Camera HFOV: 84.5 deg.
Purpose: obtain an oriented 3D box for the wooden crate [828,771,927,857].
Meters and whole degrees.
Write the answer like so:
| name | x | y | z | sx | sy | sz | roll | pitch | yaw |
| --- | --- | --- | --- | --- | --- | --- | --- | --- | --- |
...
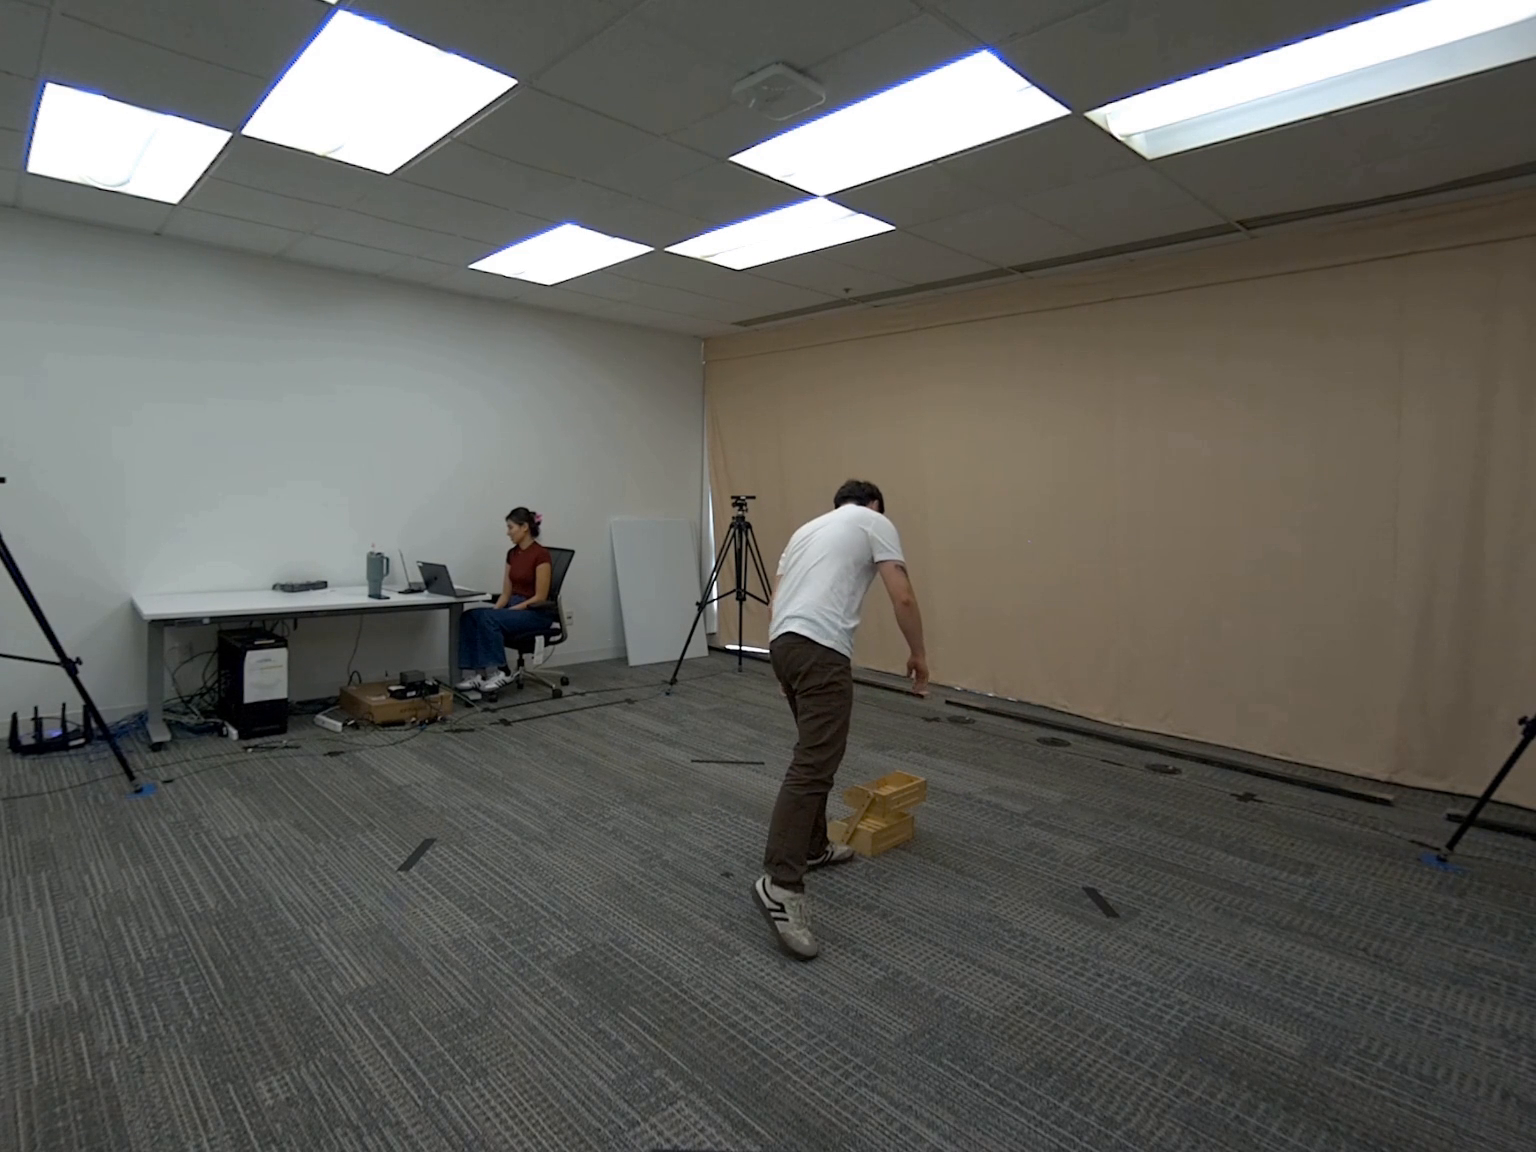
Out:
| name | x | y | z | sx | sy | sz | roll | pitch | yaw |
| --- | --- | --- | --- | --- | --- | --- | --- | --- | --- |
| wooden crate | 0.426 | 0.951 | 3.457 | 0.310 | 0.272 | 0.317 | 6 | 6 | 43 |
